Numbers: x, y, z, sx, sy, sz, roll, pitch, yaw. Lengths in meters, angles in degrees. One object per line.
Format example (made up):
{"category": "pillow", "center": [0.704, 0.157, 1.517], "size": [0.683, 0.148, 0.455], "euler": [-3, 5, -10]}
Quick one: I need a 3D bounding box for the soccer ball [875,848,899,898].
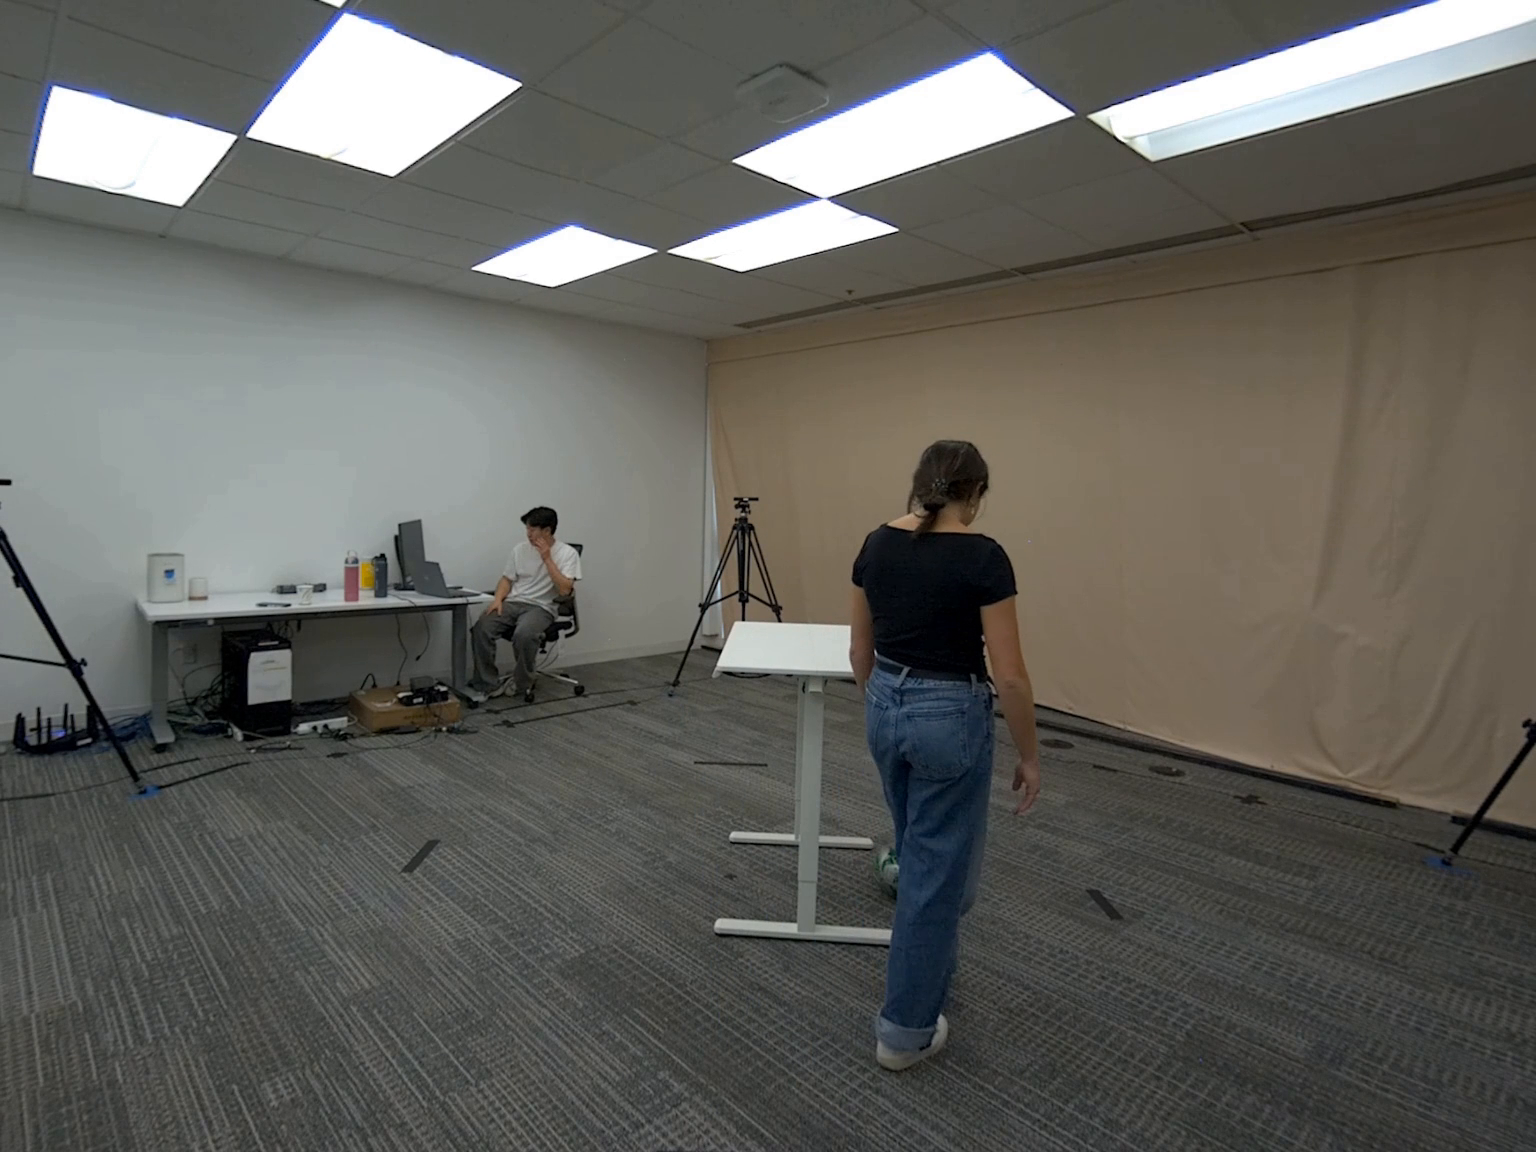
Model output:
{"category": "soccer ball", "center": [0.464, 1.050, 2.967], "size": [0.187, 0.187, 0.188], "euler": [1, 4, -1]}
